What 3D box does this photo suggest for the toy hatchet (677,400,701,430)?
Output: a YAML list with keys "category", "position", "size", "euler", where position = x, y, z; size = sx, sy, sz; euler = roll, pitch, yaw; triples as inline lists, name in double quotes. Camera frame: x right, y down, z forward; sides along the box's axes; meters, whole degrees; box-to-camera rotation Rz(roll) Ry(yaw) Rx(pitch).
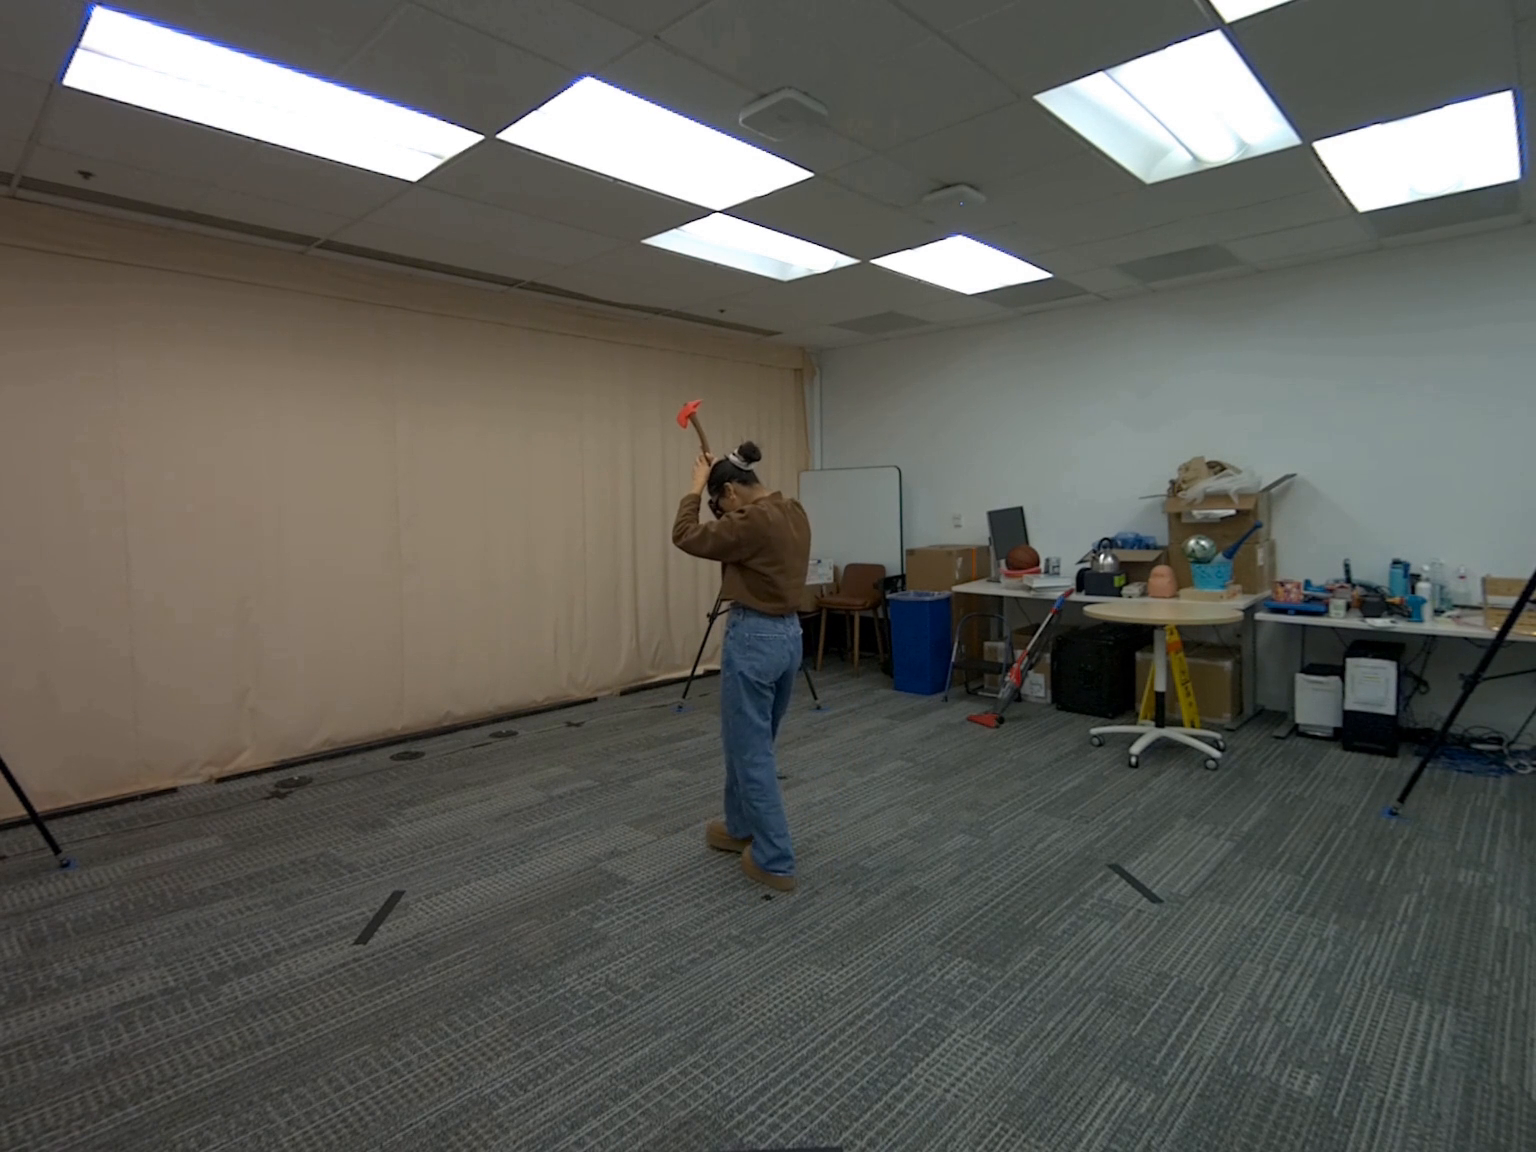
- category: "toy hatchet"
  position: [-0.289, -0.546, 3.262]
  size: [0.134, 0.272, 0.029]
  euler: [-14, -9, 30]
